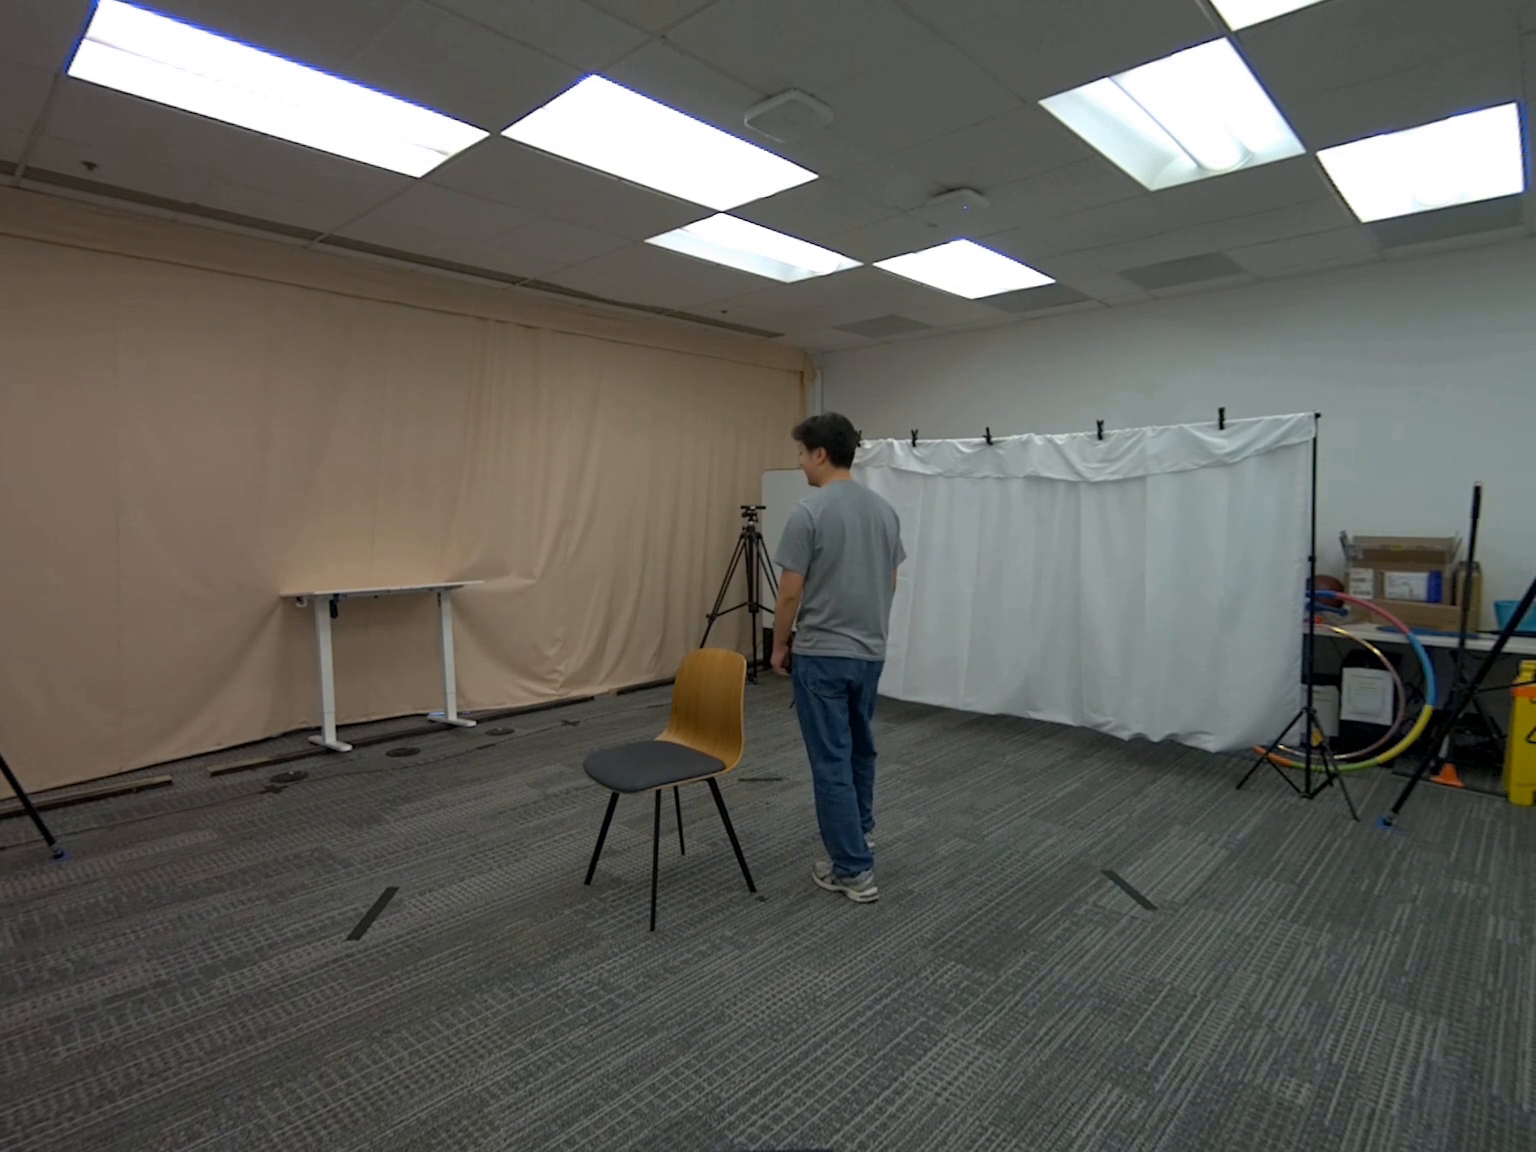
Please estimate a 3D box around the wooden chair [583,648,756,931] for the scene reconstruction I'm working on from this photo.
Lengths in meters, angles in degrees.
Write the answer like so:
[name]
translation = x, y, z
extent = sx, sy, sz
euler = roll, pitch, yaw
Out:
[wooden chair]
translation = -0.368, 0.716, 3.037
extent = 0.506, 0.877, 0.494
euler = 3, 1, -40
